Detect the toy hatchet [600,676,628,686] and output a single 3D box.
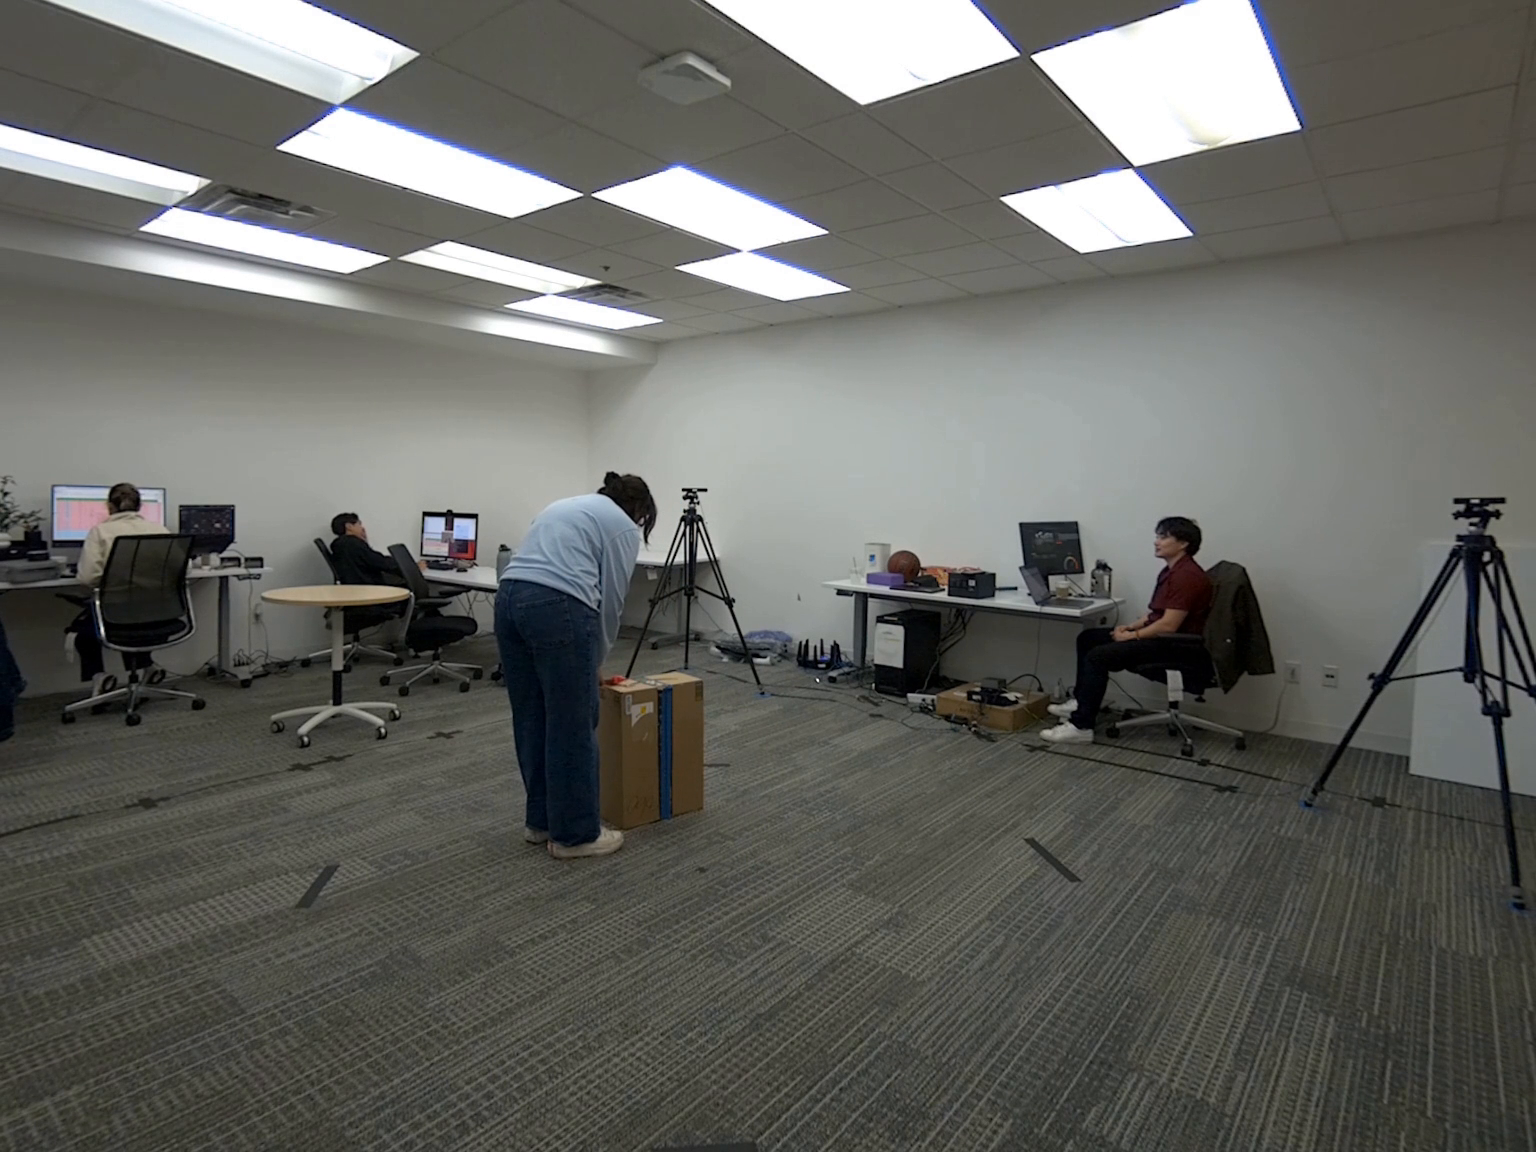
[{"bbox_3d":[-0.737,0.442,3.507,0.261,0.030,0.134,1,-7,-45],"label":"toy hatchet"}]
